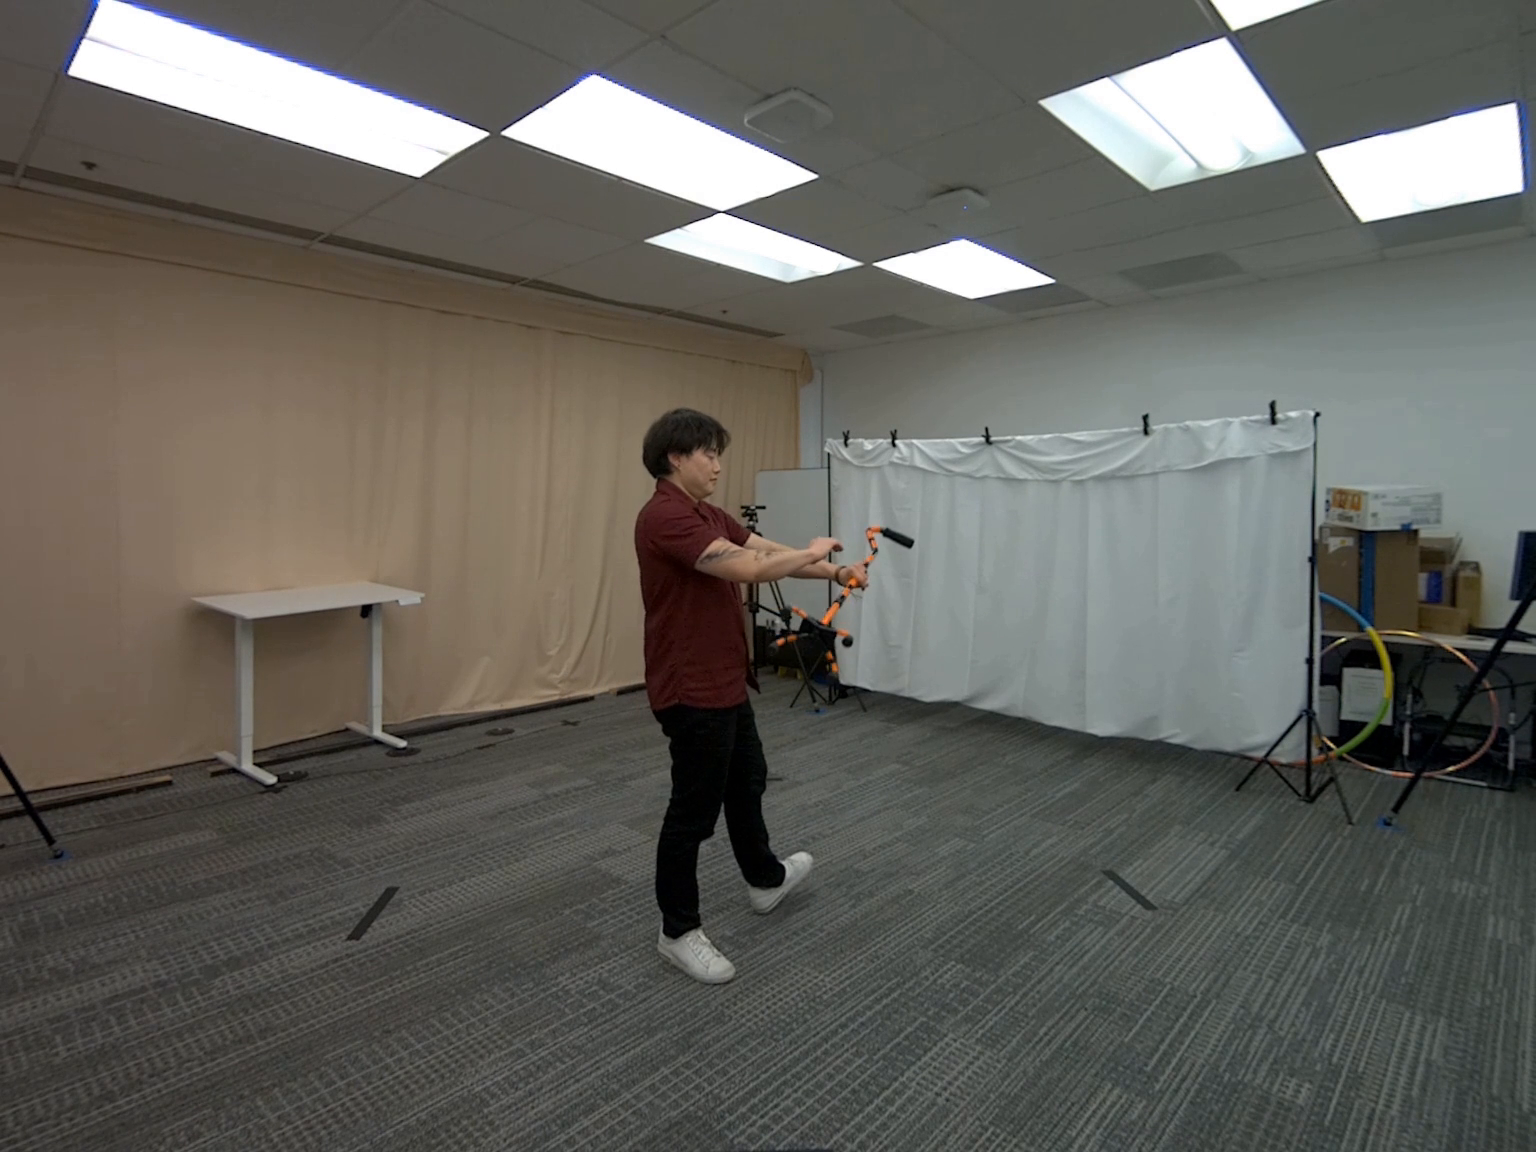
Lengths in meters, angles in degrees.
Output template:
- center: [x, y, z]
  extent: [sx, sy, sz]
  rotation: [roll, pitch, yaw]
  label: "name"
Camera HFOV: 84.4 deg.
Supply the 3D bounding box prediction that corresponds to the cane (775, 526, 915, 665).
- center: [0.280, 0.021, 2.607]
  extent: [0.210, 0.150, 0.899]
  rotation: [22, 29, 13]
  label: "cane"
